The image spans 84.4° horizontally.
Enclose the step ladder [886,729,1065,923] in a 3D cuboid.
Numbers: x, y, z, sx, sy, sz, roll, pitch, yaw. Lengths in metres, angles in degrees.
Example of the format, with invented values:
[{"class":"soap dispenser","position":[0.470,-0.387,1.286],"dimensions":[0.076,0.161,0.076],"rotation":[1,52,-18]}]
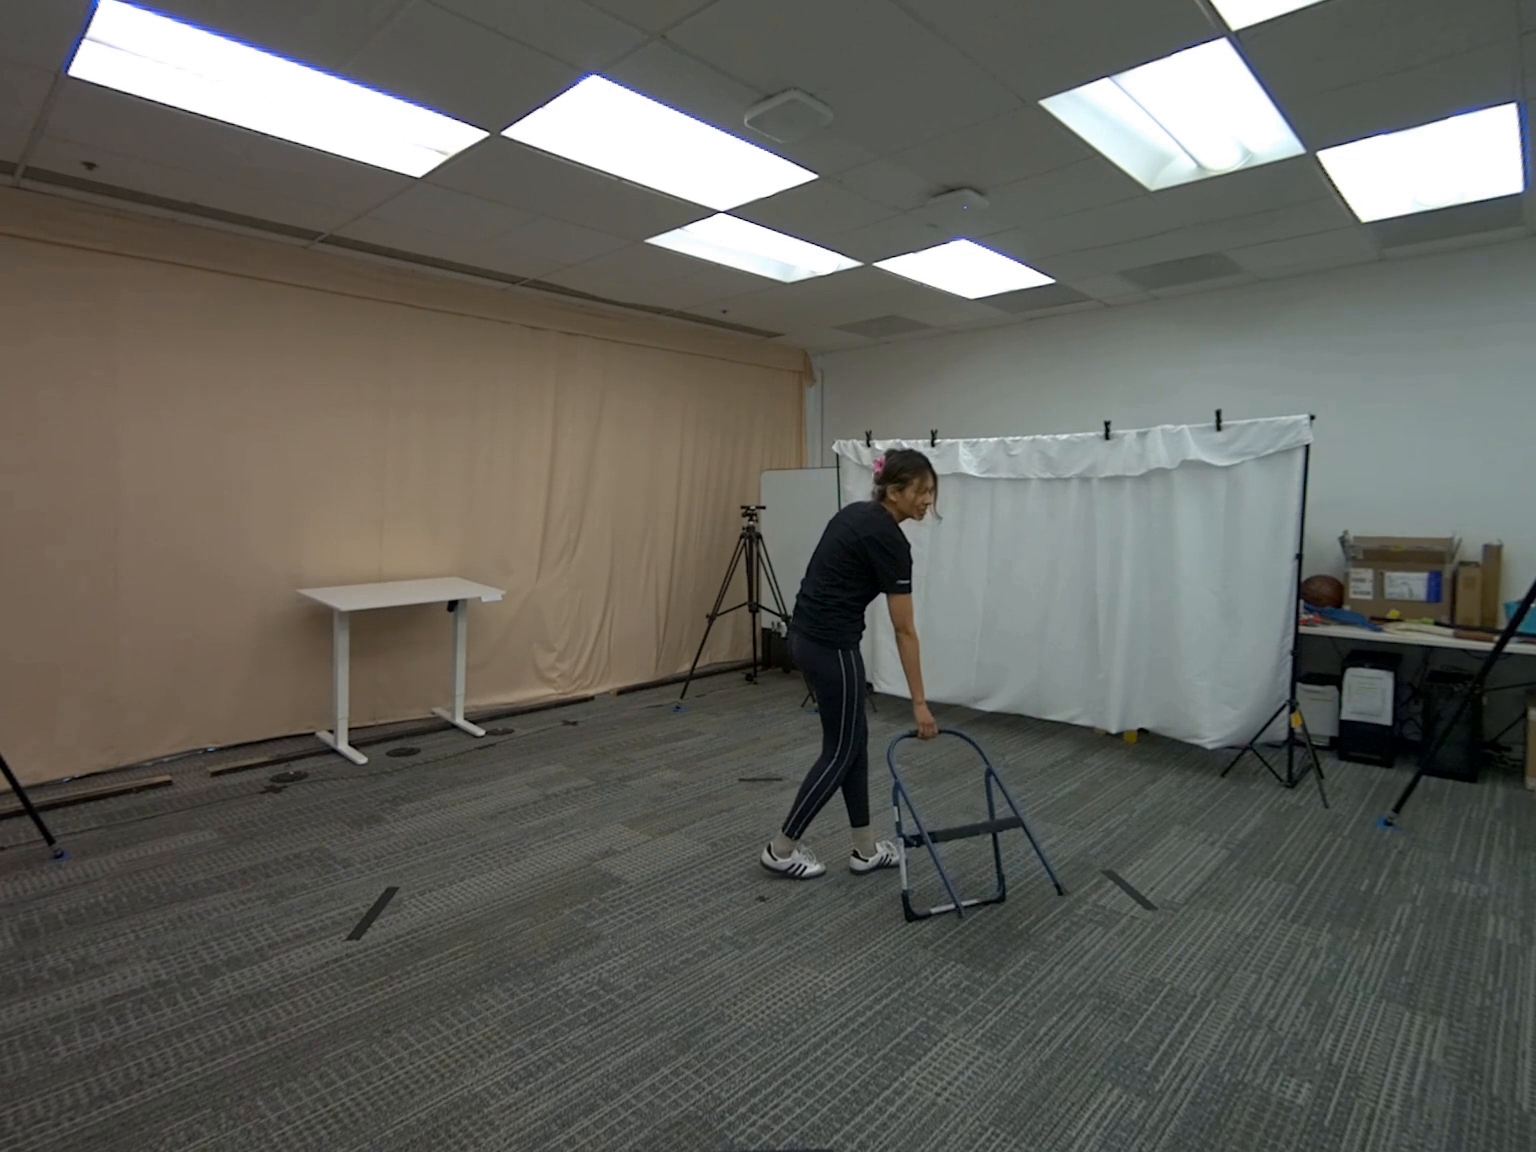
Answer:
[{"class":"step ladder","position":[0.662,0.811,2.862],"dimensions":[0.421,0.616,0.351],"rotation":[-1,-23,-24]}]
